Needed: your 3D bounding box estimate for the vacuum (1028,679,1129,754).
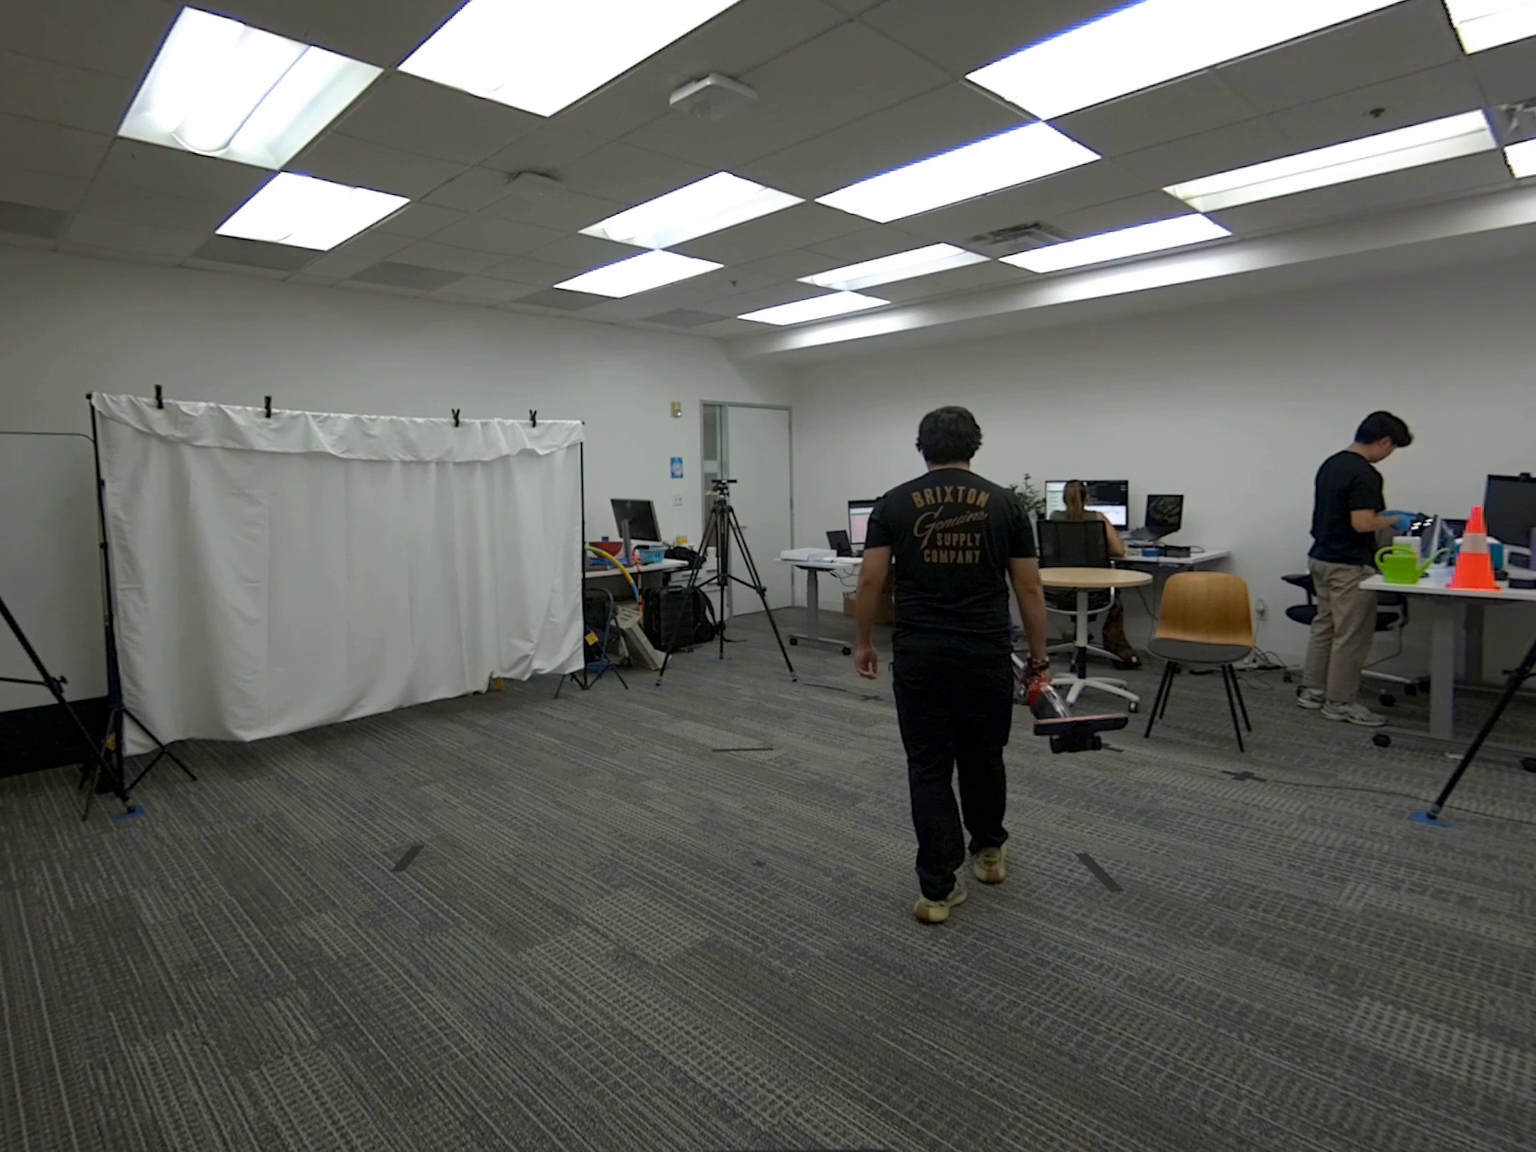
[{"bbox_3d":[0.894,0.387,2.940,0.253,0.143,1.052,-7,7,2],"label":"vacuum"}]
